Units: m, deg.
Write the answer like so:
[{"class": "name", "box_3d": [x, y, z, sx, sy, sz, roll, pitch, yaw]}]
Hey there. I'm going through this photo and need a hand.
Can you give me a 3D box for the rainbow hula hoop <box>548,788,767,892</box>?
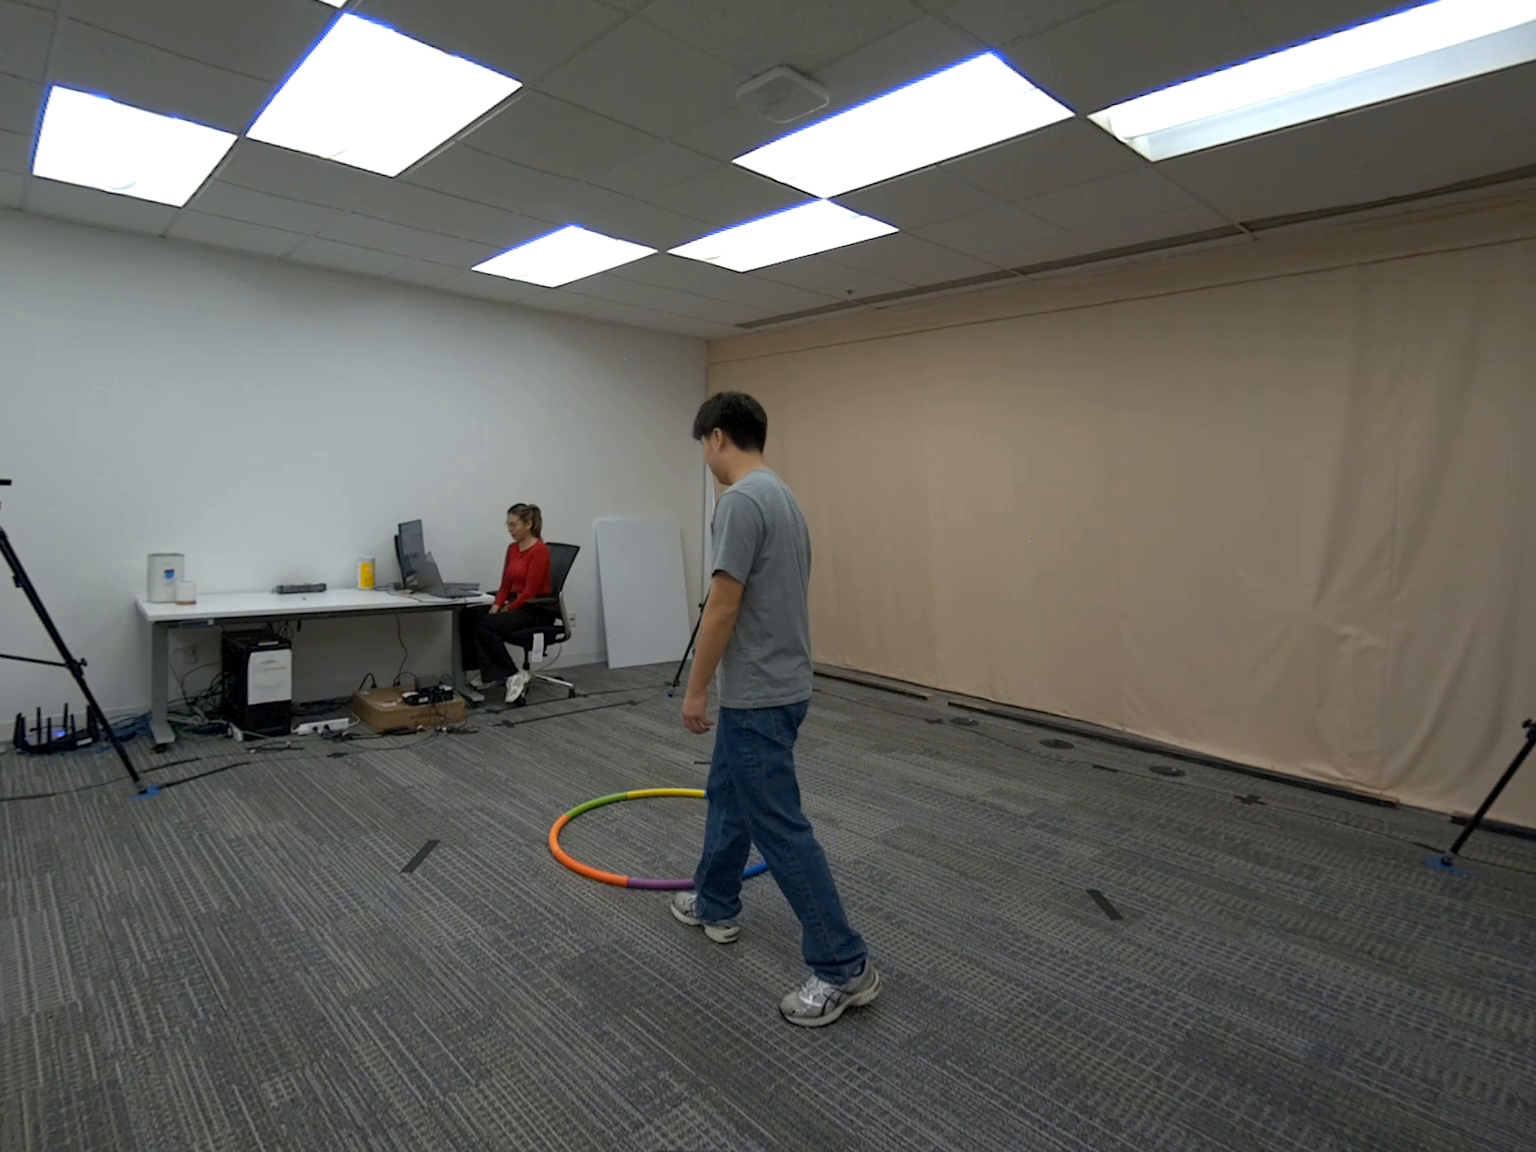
[{"class": "rainbow hula hoop", "box_3d": [-0.407, 1.040, 3.464, 0.978, 0.035, 0.982, 1, 5, -1]}]
